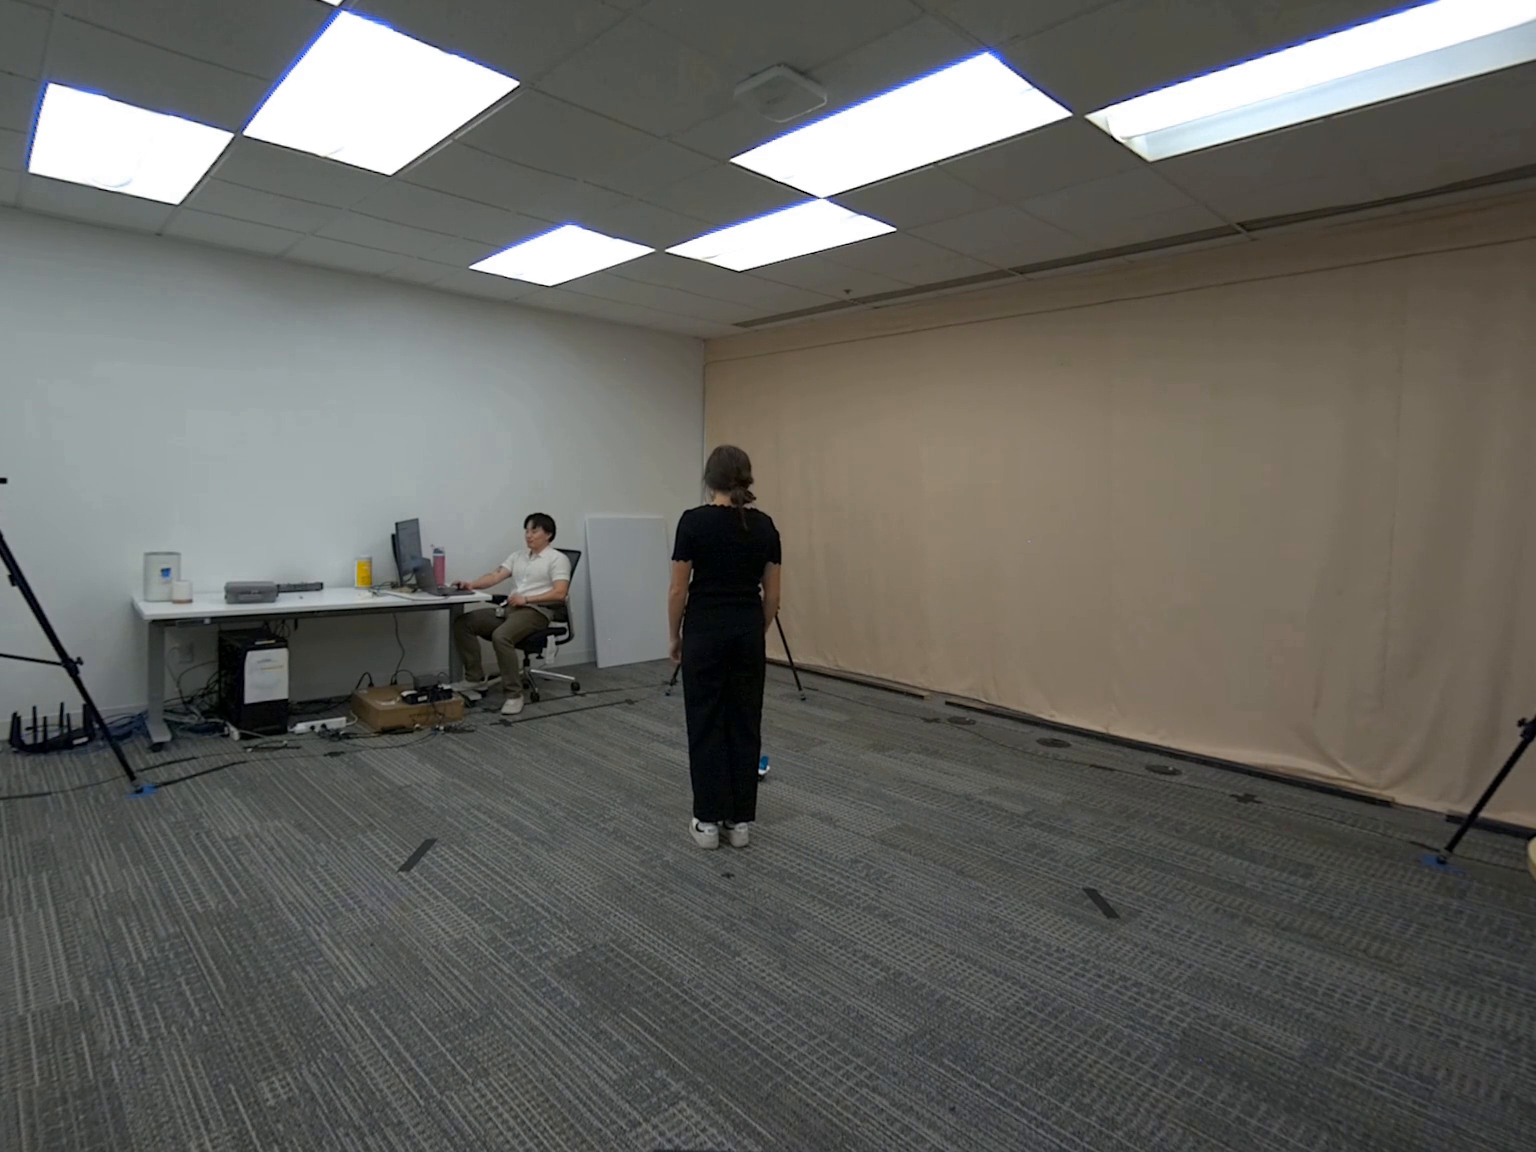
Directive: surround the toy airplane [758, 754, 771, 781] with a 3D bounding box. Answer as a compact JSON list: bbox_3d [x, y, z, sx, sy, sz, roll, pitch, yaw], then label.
[{"bbox_3d":[-0.131,0.943,4.240,0.258,0.156,0.253,0,4,-7],"label":"toy airplane"}]
